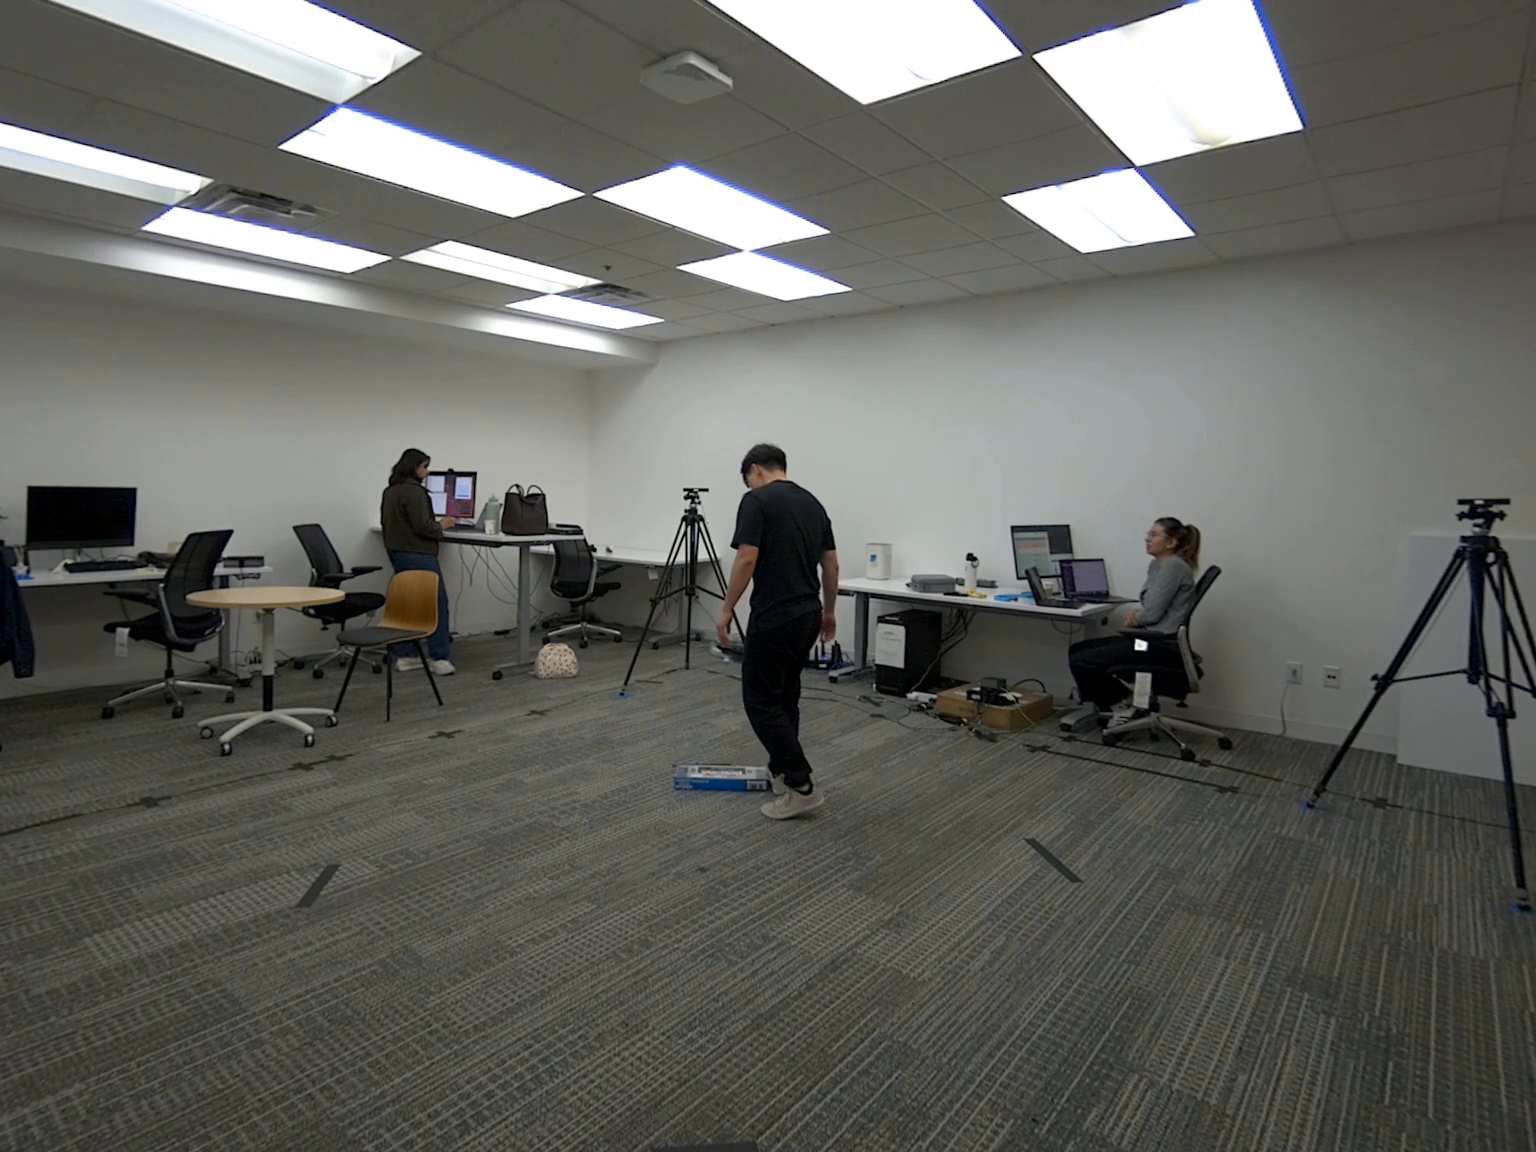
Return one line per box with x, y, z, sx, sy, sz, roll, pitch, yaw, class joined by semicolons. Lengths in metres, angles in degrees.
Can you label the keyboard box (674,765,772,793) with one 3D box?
-0.229;0.954;4.025;0.437;0.059;0.176;1;5;1;keyboard box
